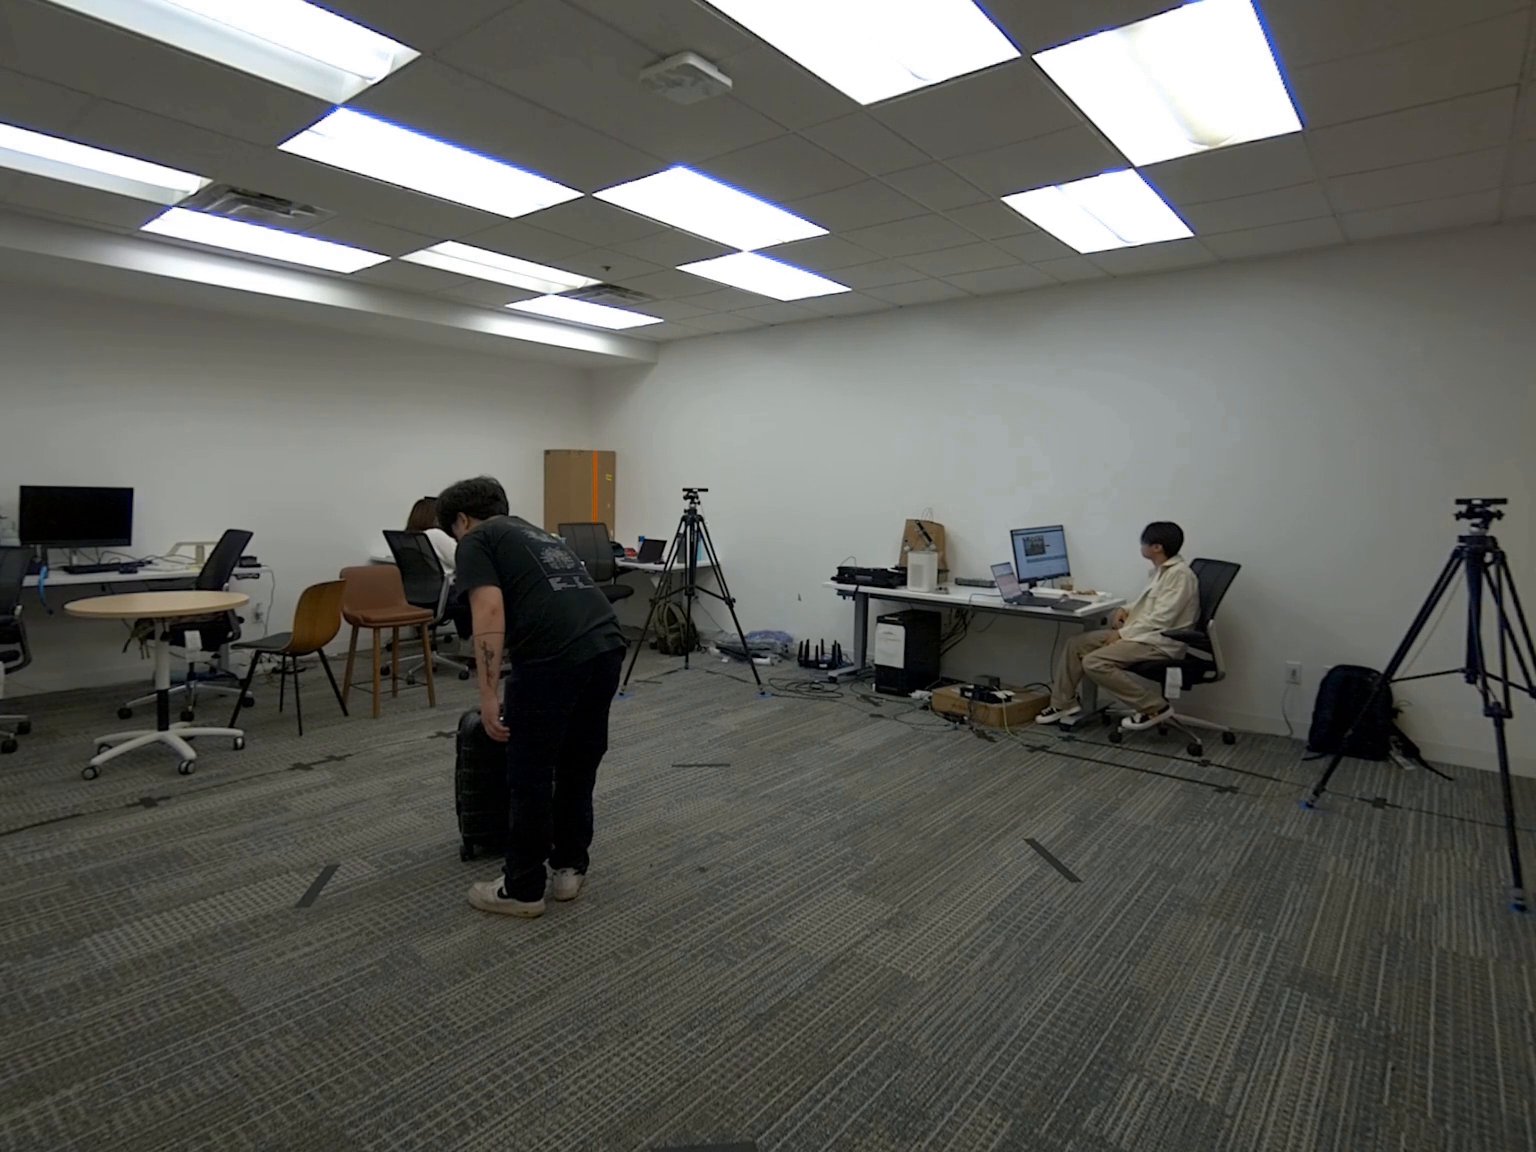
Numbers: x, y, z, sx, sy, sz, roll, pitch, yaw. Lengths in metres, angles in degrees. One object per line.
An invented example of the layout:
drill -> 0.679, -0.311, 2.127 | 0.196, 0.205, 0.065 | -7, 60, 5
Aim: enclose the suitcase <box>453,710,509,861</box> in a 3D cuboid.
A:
suitcase -> -1.027, 0.767, 3.267 | 0.369, 0.548, 0.253 | -1, 3, -18
